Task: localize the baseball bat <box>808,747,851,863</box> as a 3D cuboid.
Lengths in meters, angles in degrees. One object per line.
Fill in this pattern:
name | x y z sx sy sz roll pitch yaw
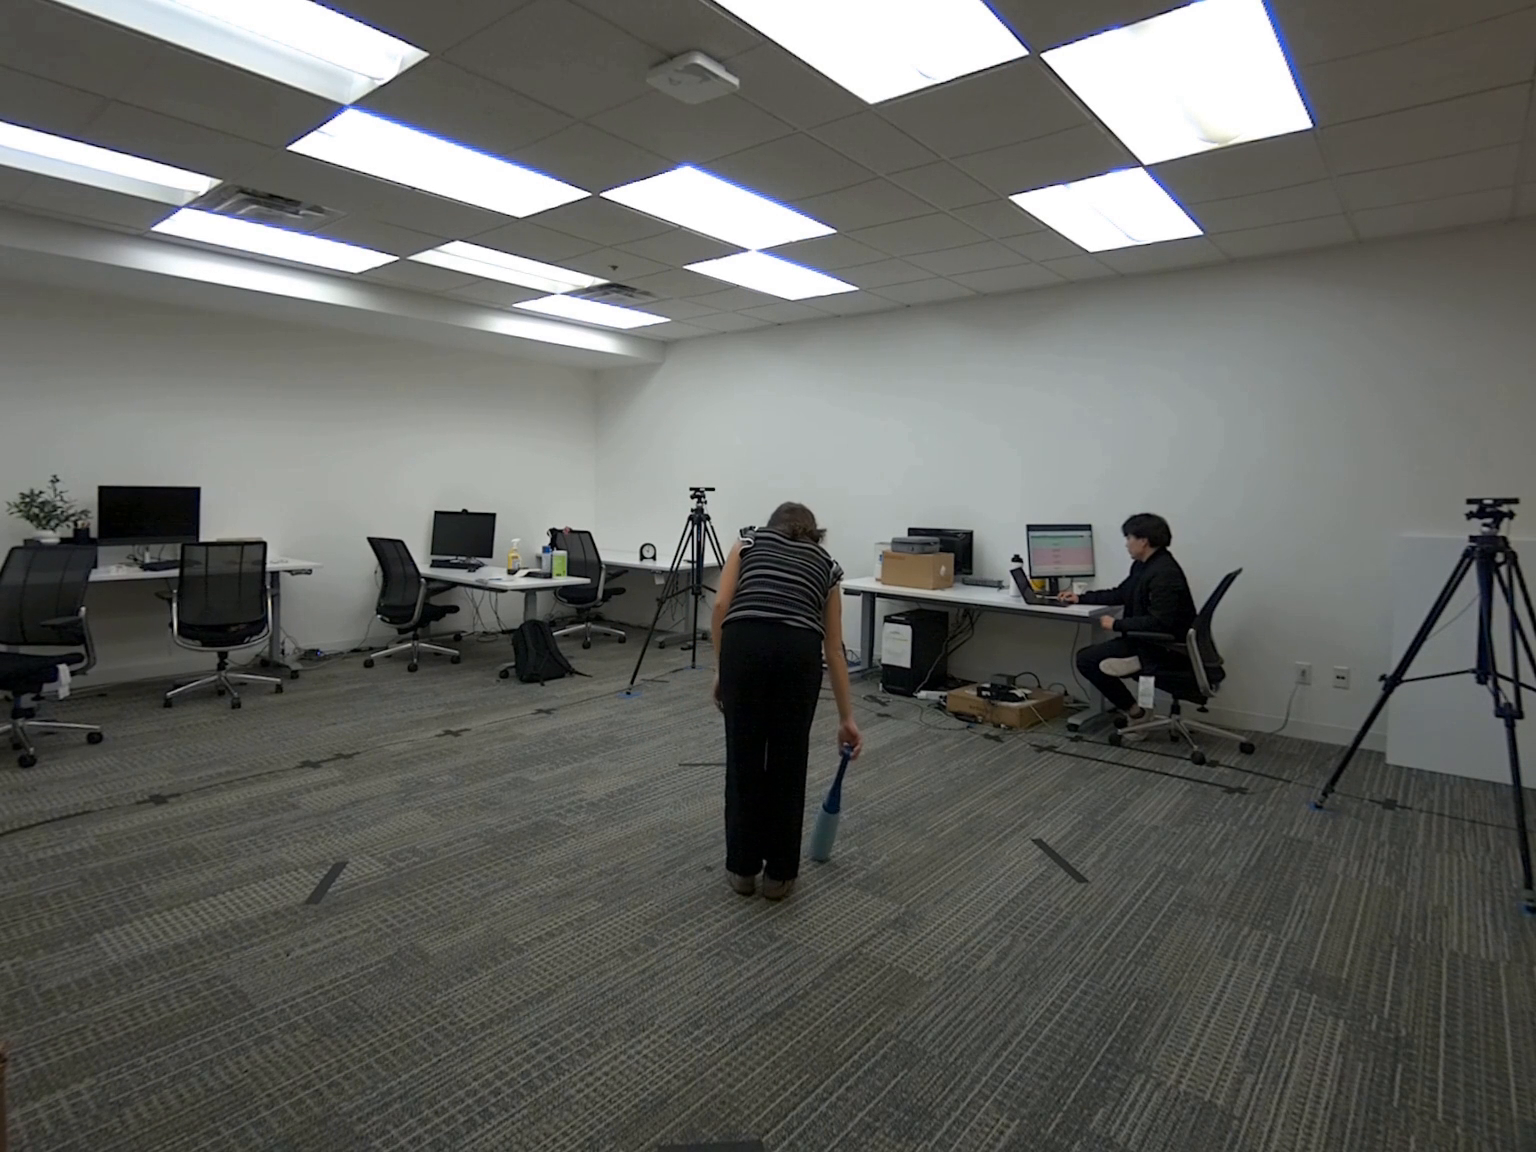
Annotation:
baseball bat | 0.221 0.828 3.092 0.088 0.531 0.091 5 30 -5
